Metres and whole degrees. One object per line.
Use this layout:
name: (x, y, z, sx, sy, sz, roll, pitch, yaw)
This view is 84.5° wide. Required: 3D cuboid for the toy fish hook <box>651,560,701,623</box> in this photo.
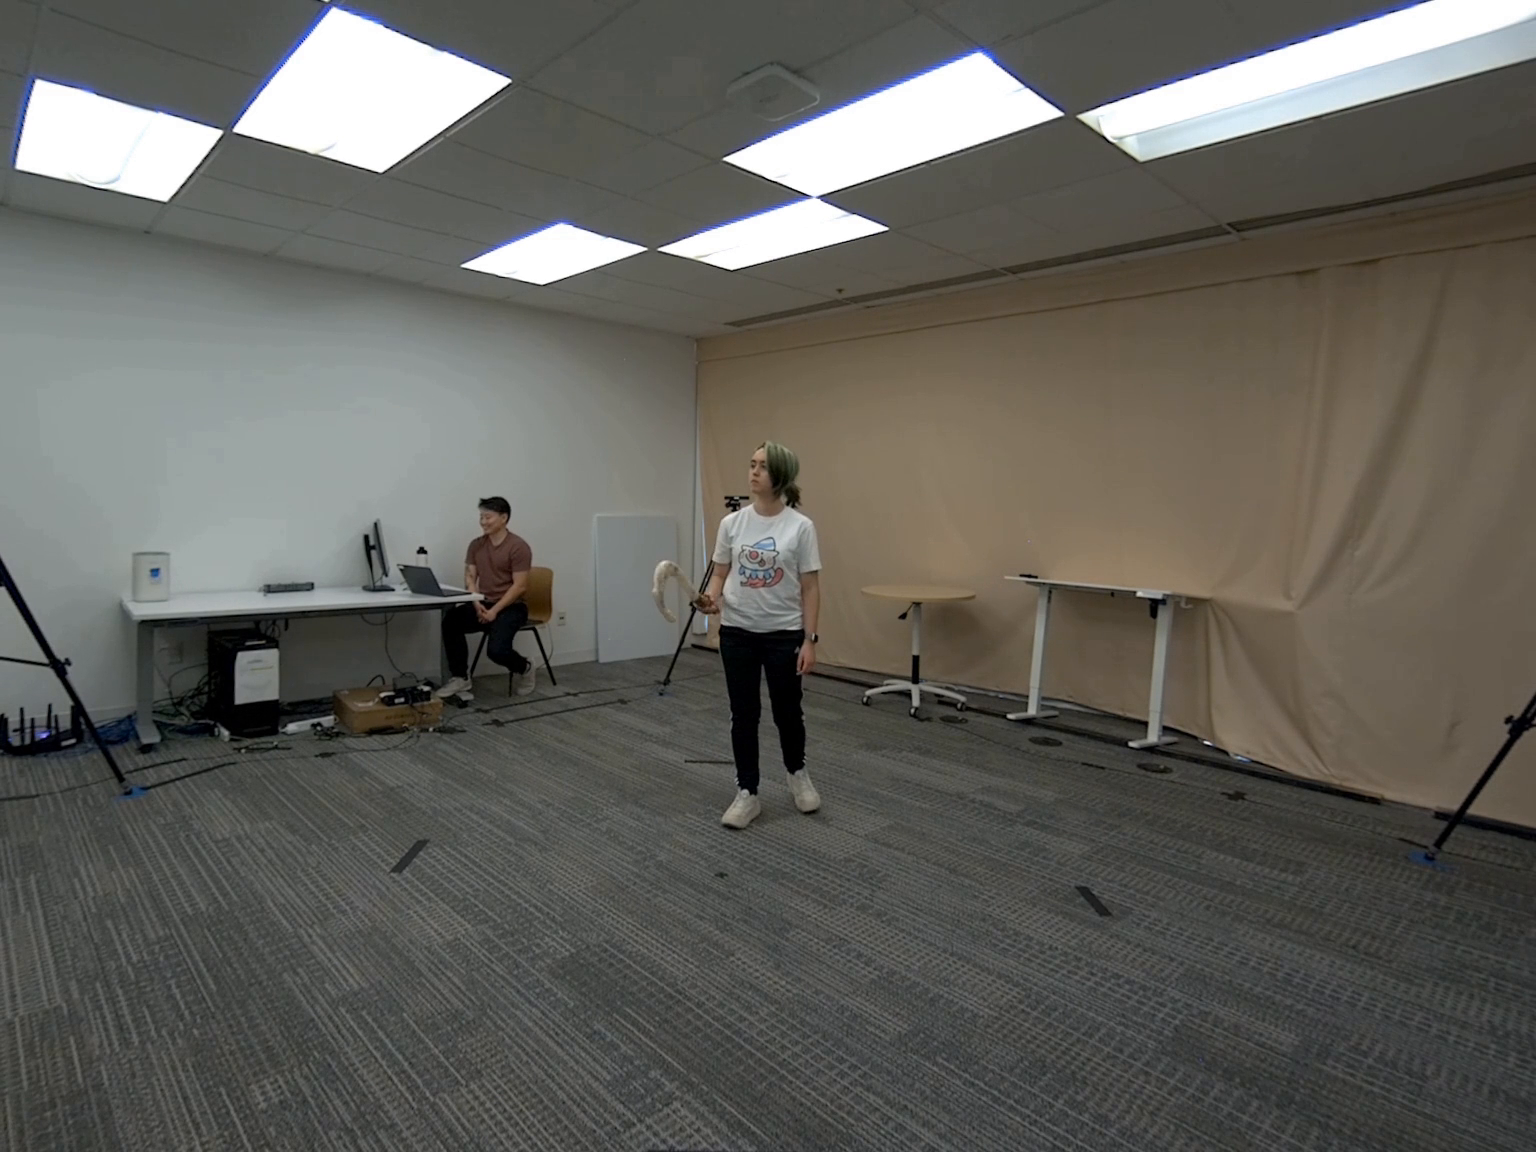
toy fish hook: (-0.327, 0.102, 3.329, 0.049, 0.227, 0.491, 2, -21, 27)
